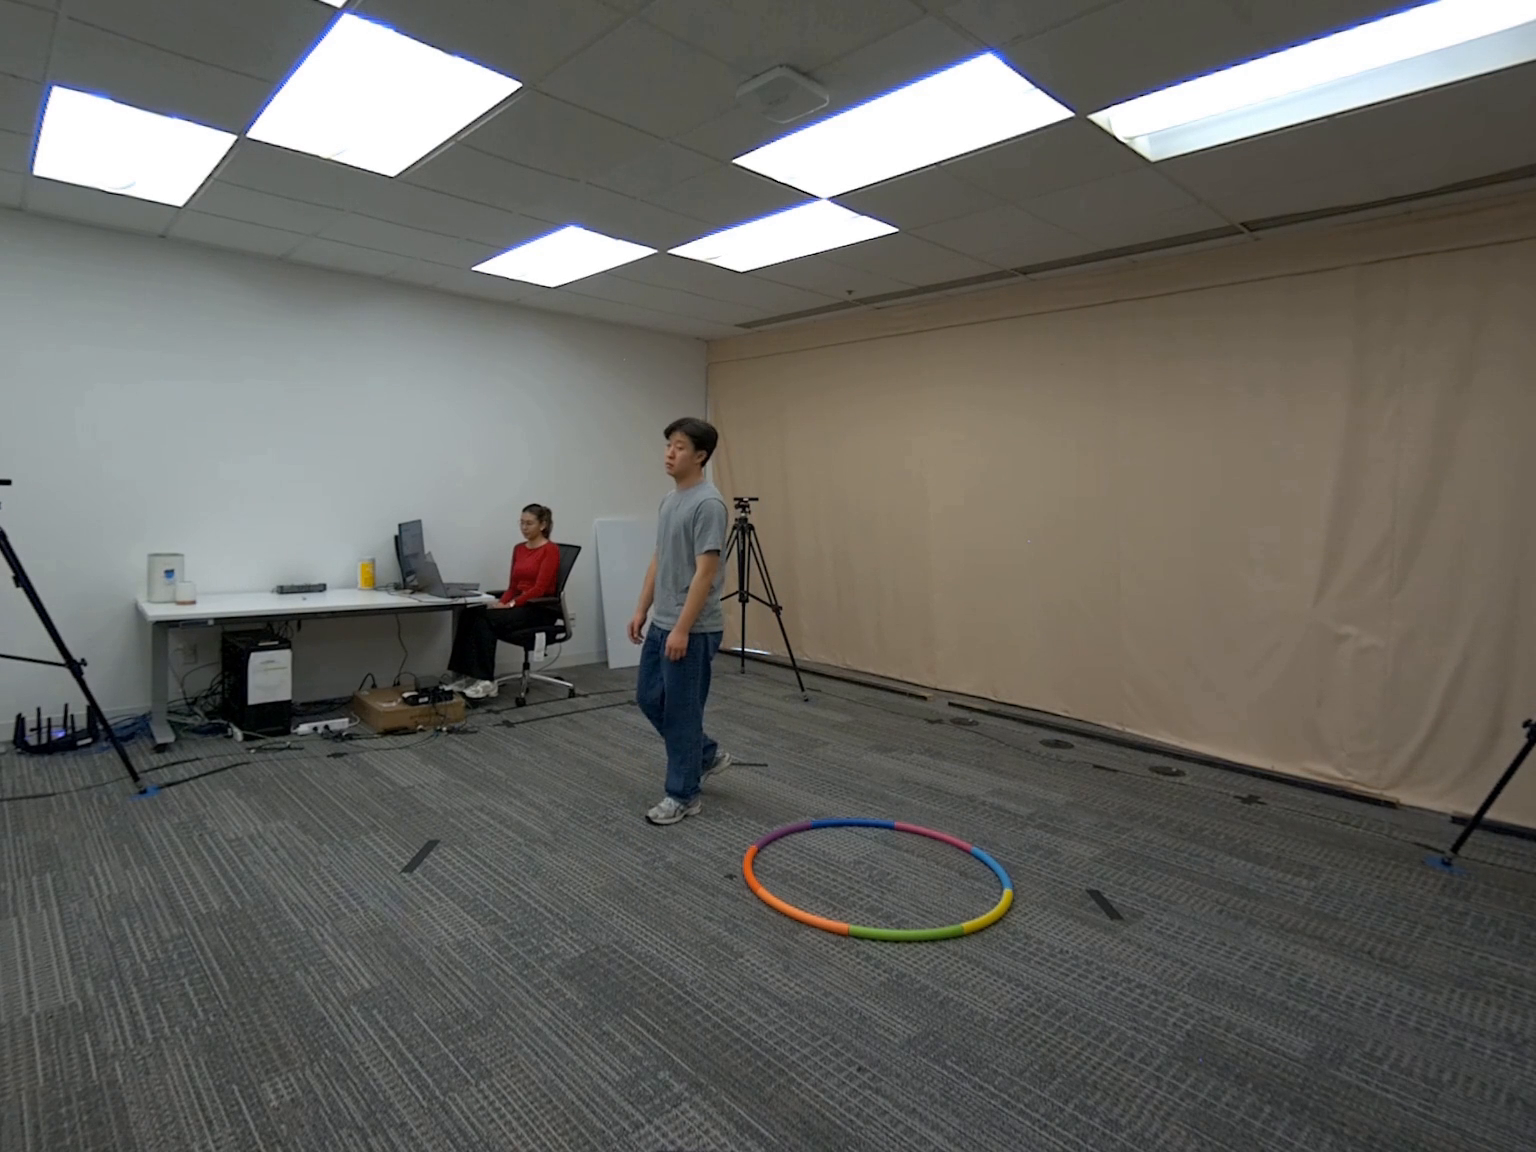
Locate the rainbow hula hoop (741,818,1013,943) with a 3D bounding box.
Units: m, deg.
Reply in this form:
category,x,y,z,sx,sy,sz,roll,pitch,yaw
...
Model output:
category,x,y,z,sx,sy,sz,roll,pitch,yaw
rainbow hula hoop,0.381,1.082,3.153,0.978,0.035,0.982,1,5,-1
